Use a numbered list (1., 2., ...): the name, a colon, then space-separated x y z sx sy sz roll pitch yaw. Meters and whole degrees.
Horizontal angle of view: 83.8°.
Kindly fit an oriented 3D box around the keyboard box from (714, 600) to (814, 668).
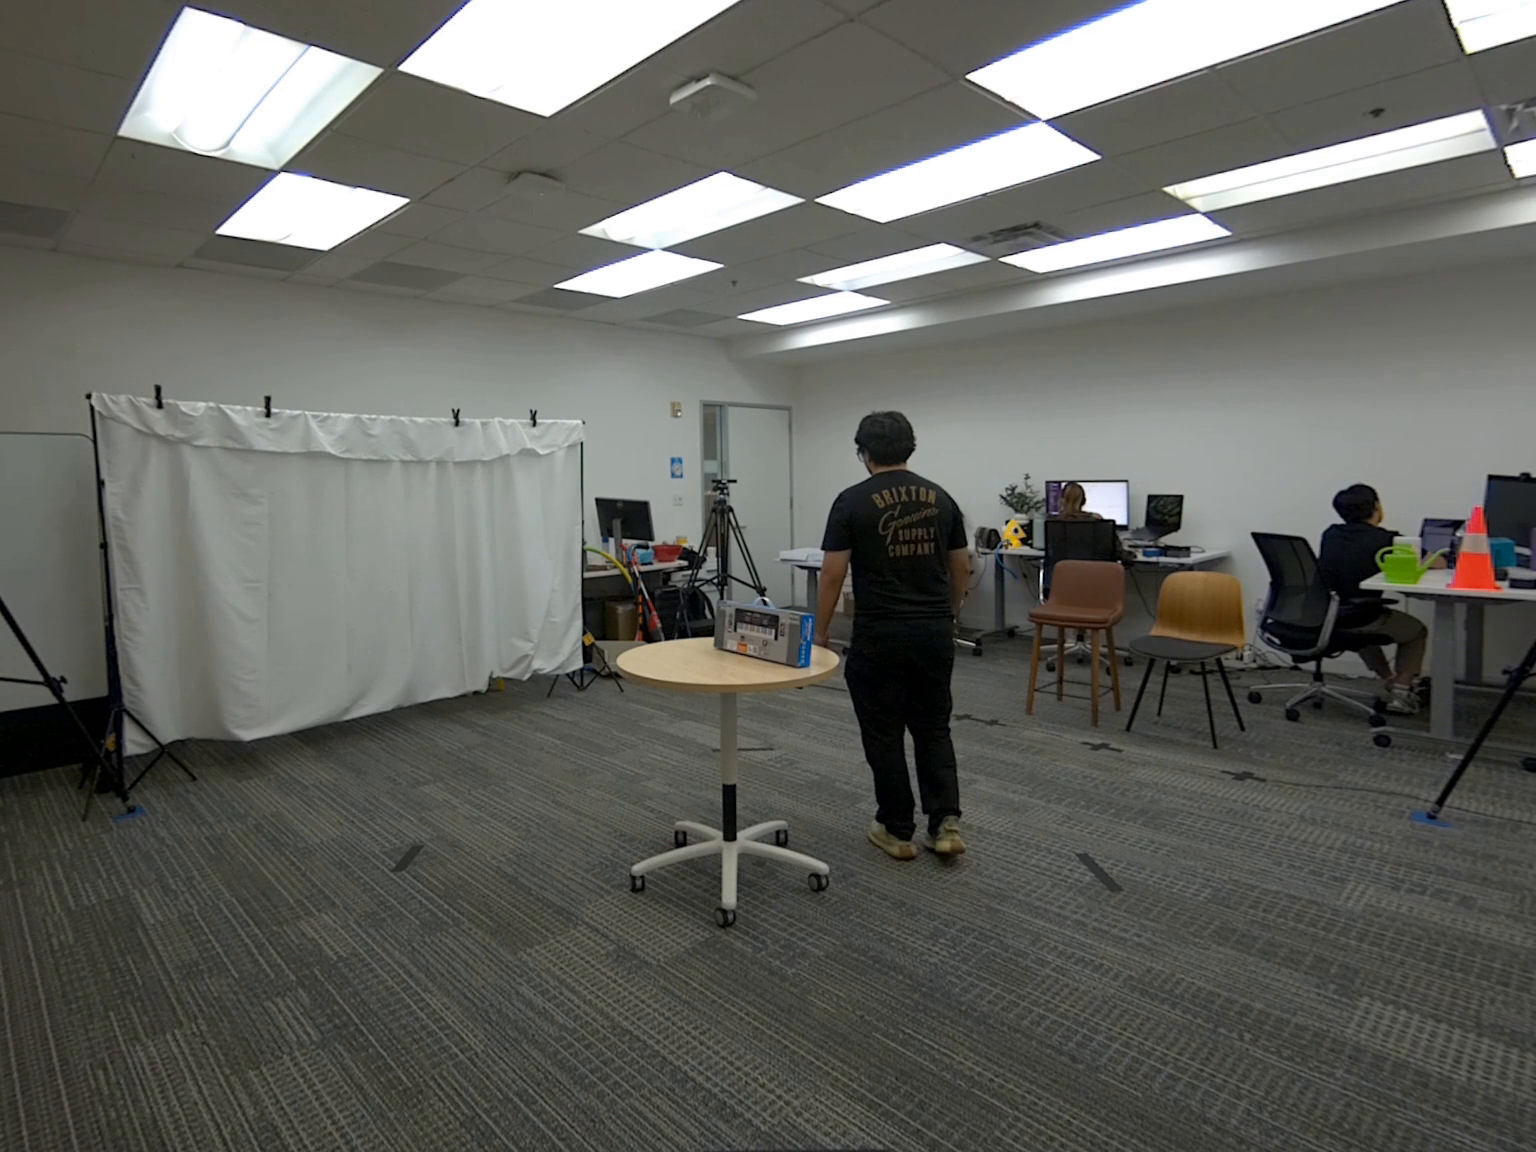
1. keyboard box: -0.020 0.194 2.952 0.057 0.176 0.450 4 2 -41
